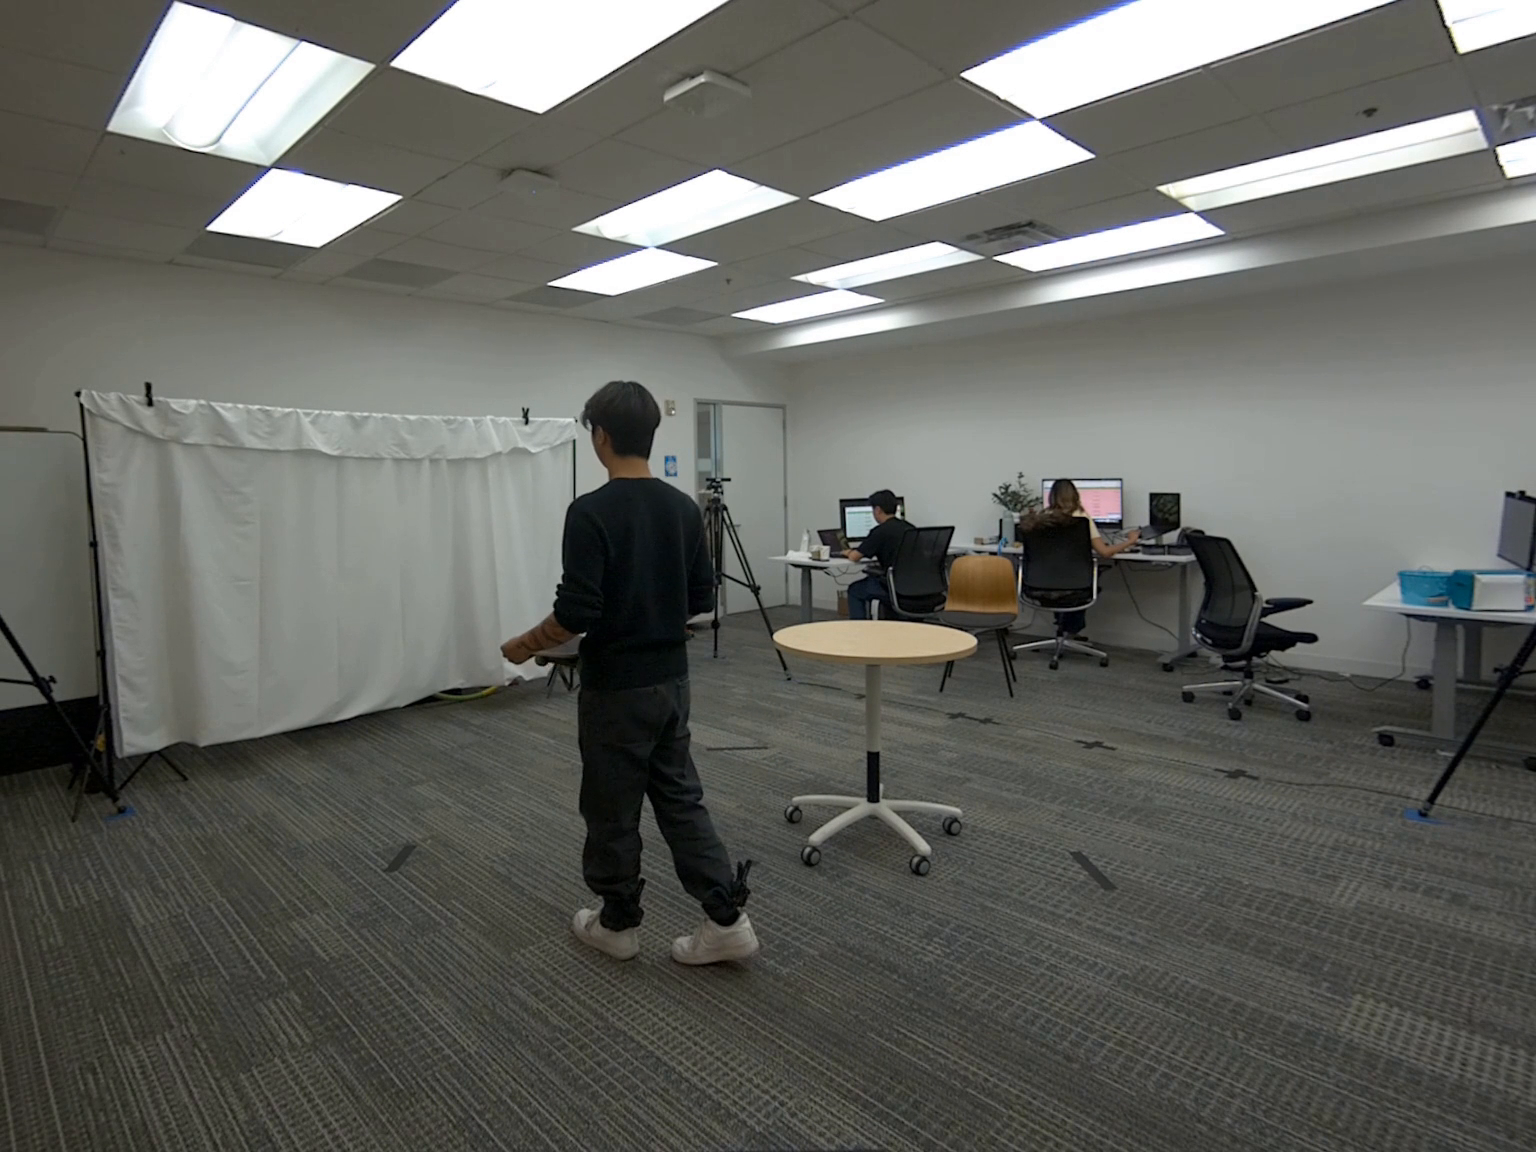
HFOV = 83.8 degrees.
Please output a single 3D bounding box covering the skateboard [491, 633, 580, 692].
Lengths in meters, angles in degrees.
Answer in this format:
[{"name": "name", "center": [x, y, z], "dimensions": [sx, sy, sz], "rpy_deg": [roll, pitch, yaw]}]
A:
[{"name": "skateboard", "center": [-0.559, 0.214, 2.777], "dimensions": [0.198, 0.110, 0.772], "rpy_deg": [8, 9, 21]}]
